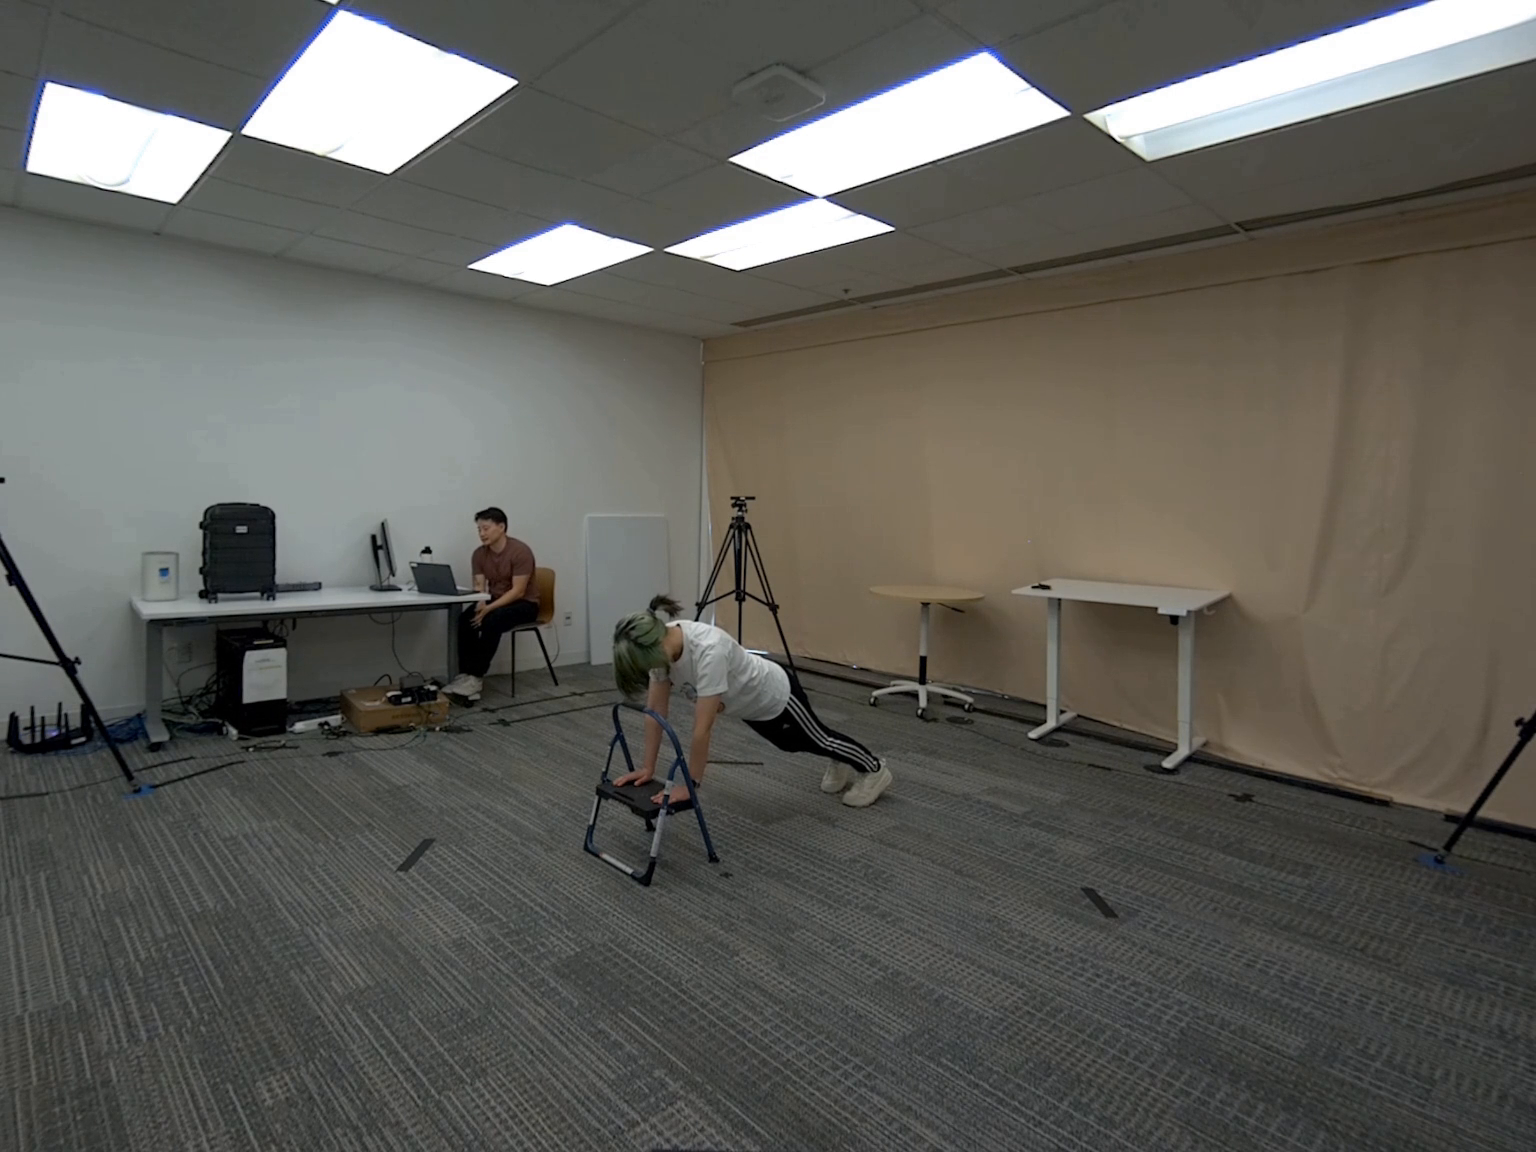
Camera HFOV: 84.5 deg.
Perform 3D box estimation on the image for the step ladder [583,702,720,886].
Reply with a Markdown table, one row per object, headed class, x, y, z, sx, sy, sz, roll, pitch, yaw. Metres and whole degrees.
| class | x | y | z | sx | sy | sz | roll | pitch | yaw |
| --- | --- | --- | --- | --- | --- | --- | --- | --- | --- |
| step ladder | -0.458 | 0.783 | 3.241 | 0.341 | 0.605 | 0.442 | -2 | 5 | -44 |
